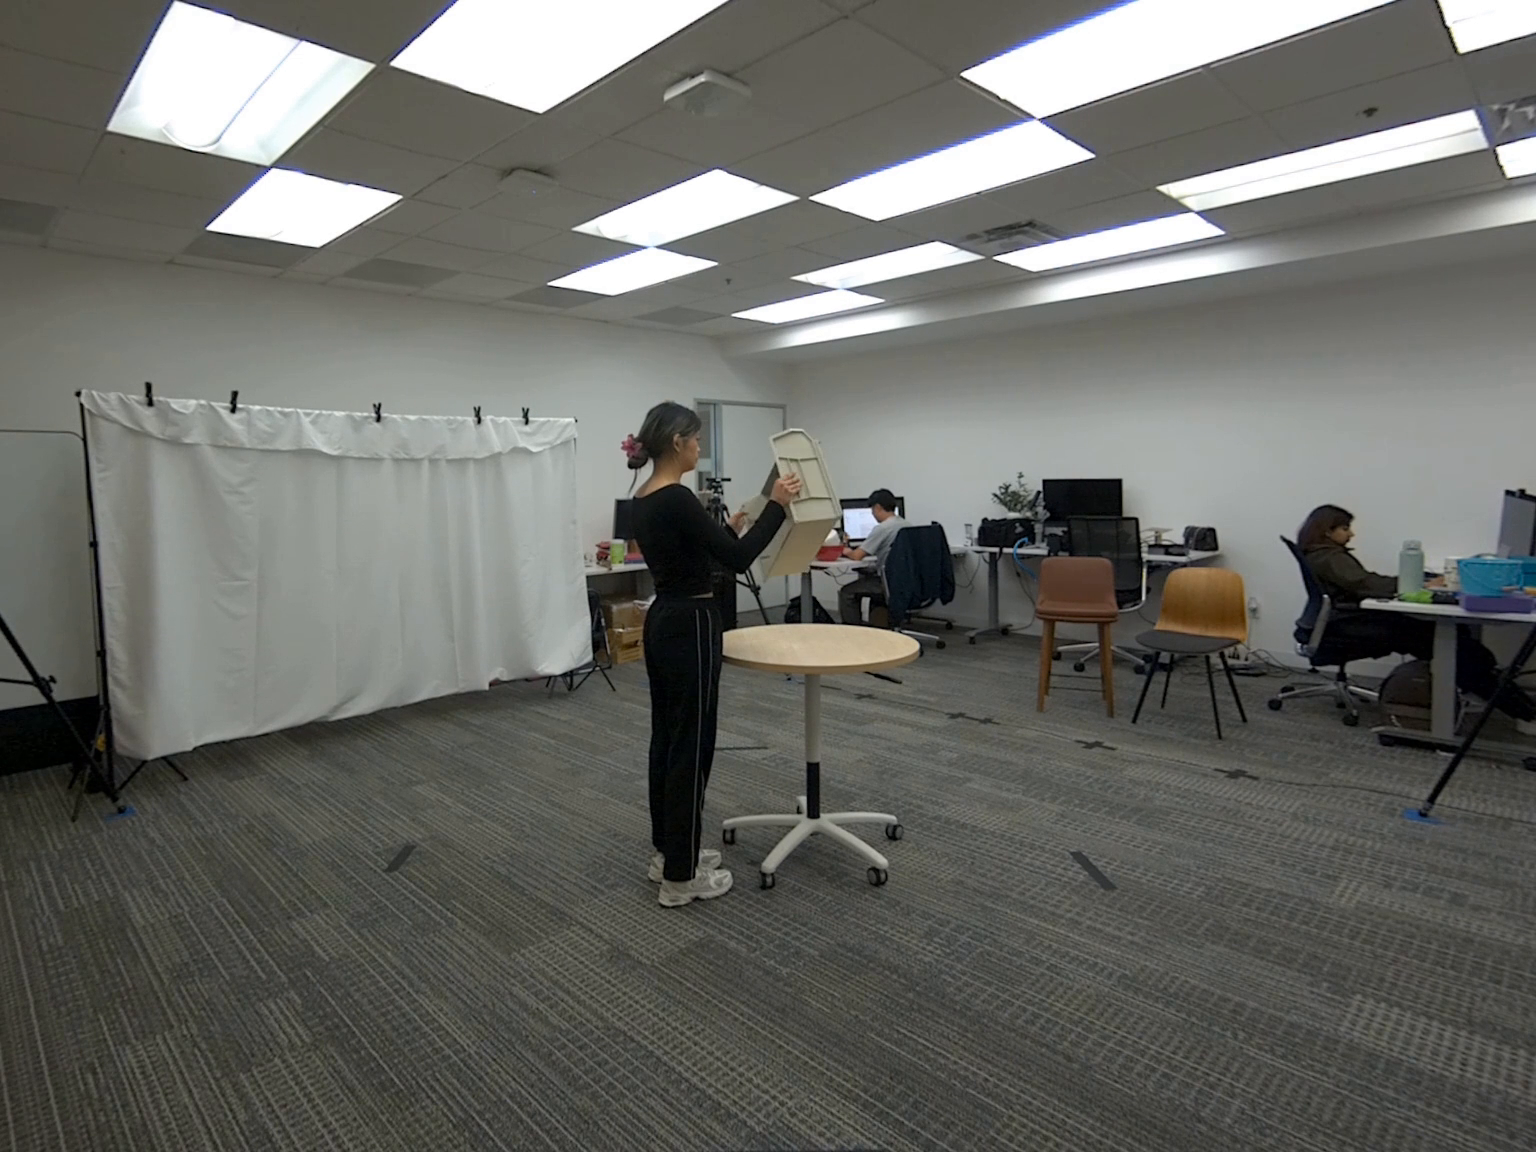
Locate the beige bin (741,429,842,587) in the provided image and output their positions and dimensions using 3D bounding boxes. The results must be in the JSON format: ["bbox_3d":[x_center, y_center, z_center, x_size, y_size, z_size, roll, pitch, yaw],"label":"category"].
[{"bbox_3d":[0.066,-0.248,3.064,0.186,0.388,0.417,-7,-28,-21],"label":"beige bin"}]
